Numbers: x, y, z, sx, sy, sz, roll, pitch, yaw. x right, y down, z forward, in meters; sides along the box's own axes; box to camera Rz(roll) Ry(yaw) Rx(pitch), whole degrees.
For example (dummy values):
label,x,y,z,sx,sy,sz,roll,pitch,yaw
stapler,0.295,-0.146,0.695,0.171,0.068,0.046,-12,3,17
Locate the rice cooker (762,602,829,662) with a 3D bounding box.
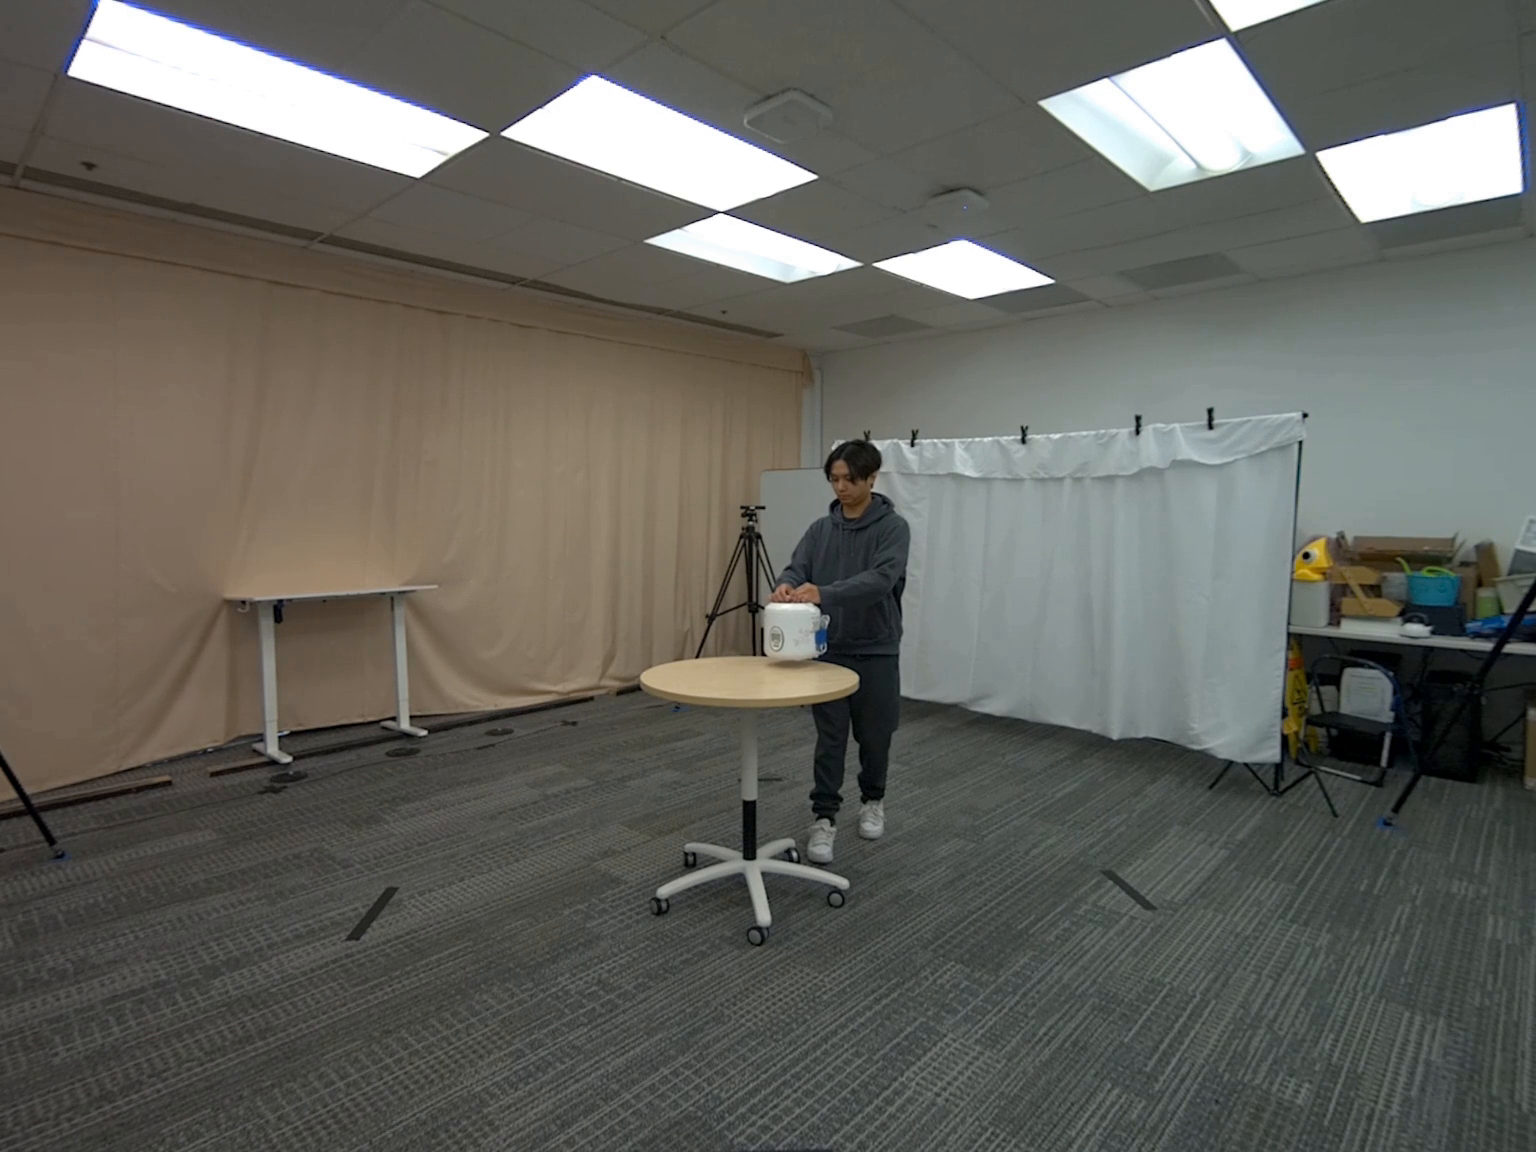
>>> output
label,x,y,z,sx,sy,sz,roll,pitch,yaw
rice cooker,0.095,0.189,3.149,0.227,0.233,0.210,1,-1,36
